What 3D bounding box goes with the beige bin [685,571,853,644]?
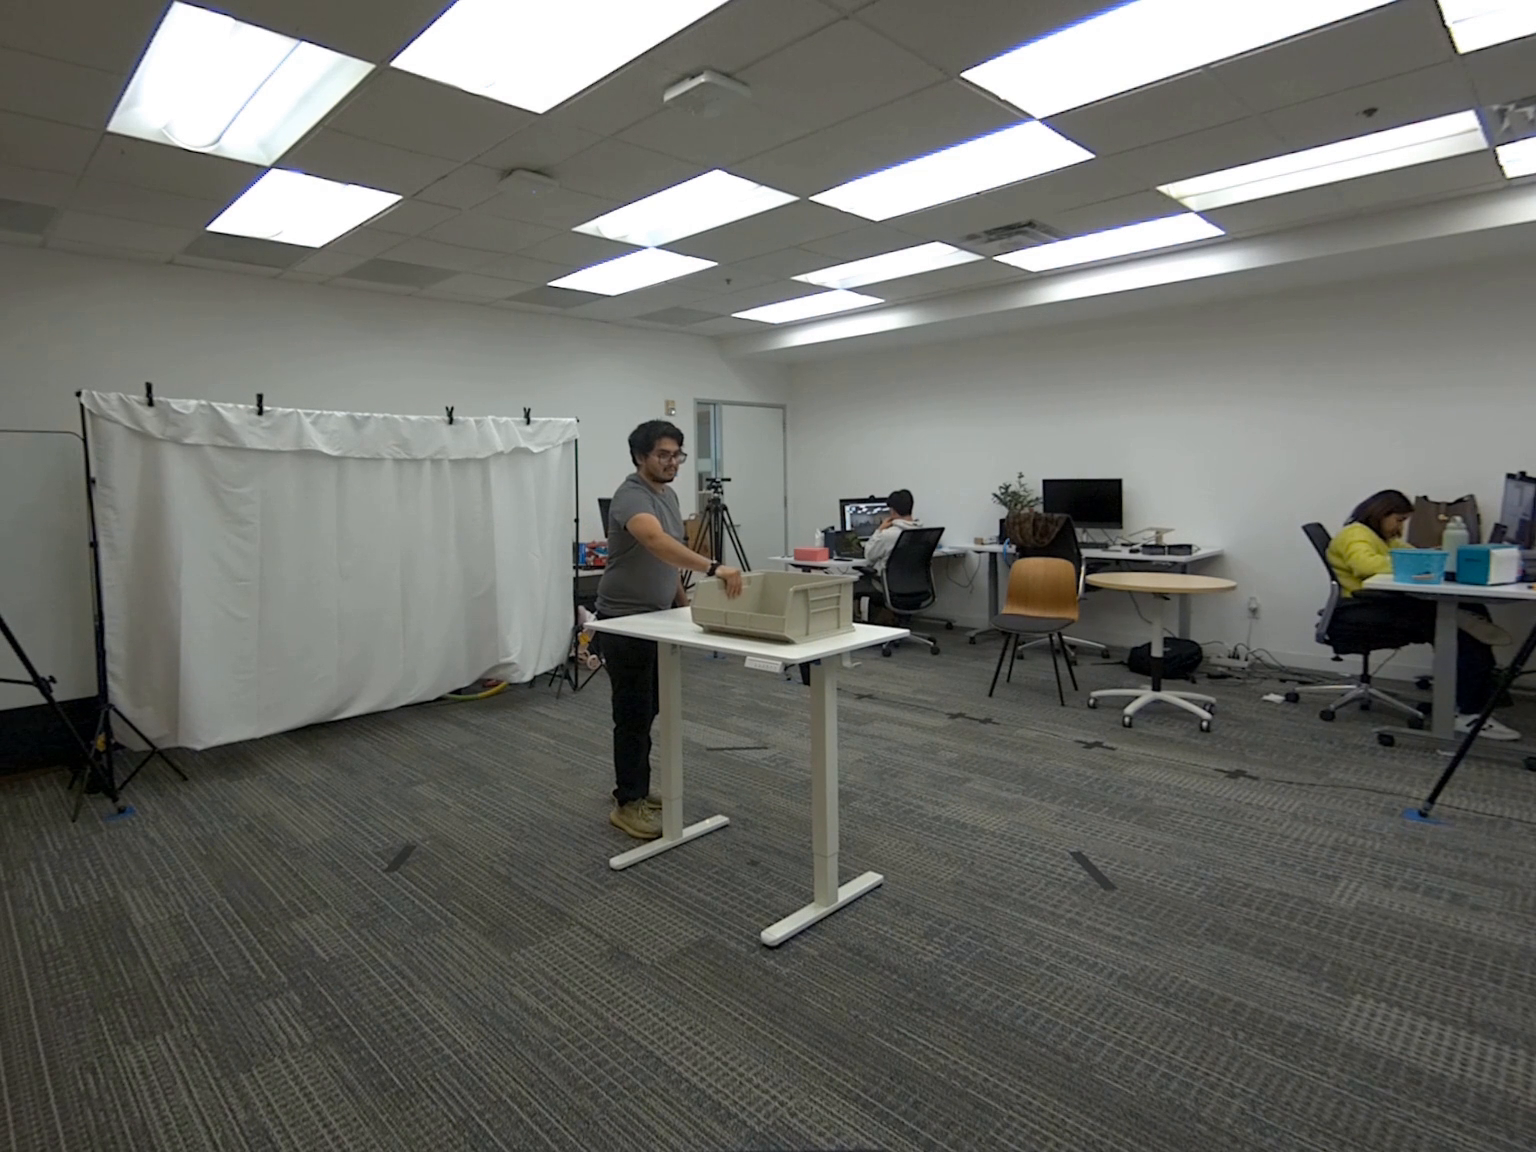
[{"bbox_3d":[0.022,0.098,2.838,0.435,0.188,0.367,3,6,43],"label":"beige bin"}]
